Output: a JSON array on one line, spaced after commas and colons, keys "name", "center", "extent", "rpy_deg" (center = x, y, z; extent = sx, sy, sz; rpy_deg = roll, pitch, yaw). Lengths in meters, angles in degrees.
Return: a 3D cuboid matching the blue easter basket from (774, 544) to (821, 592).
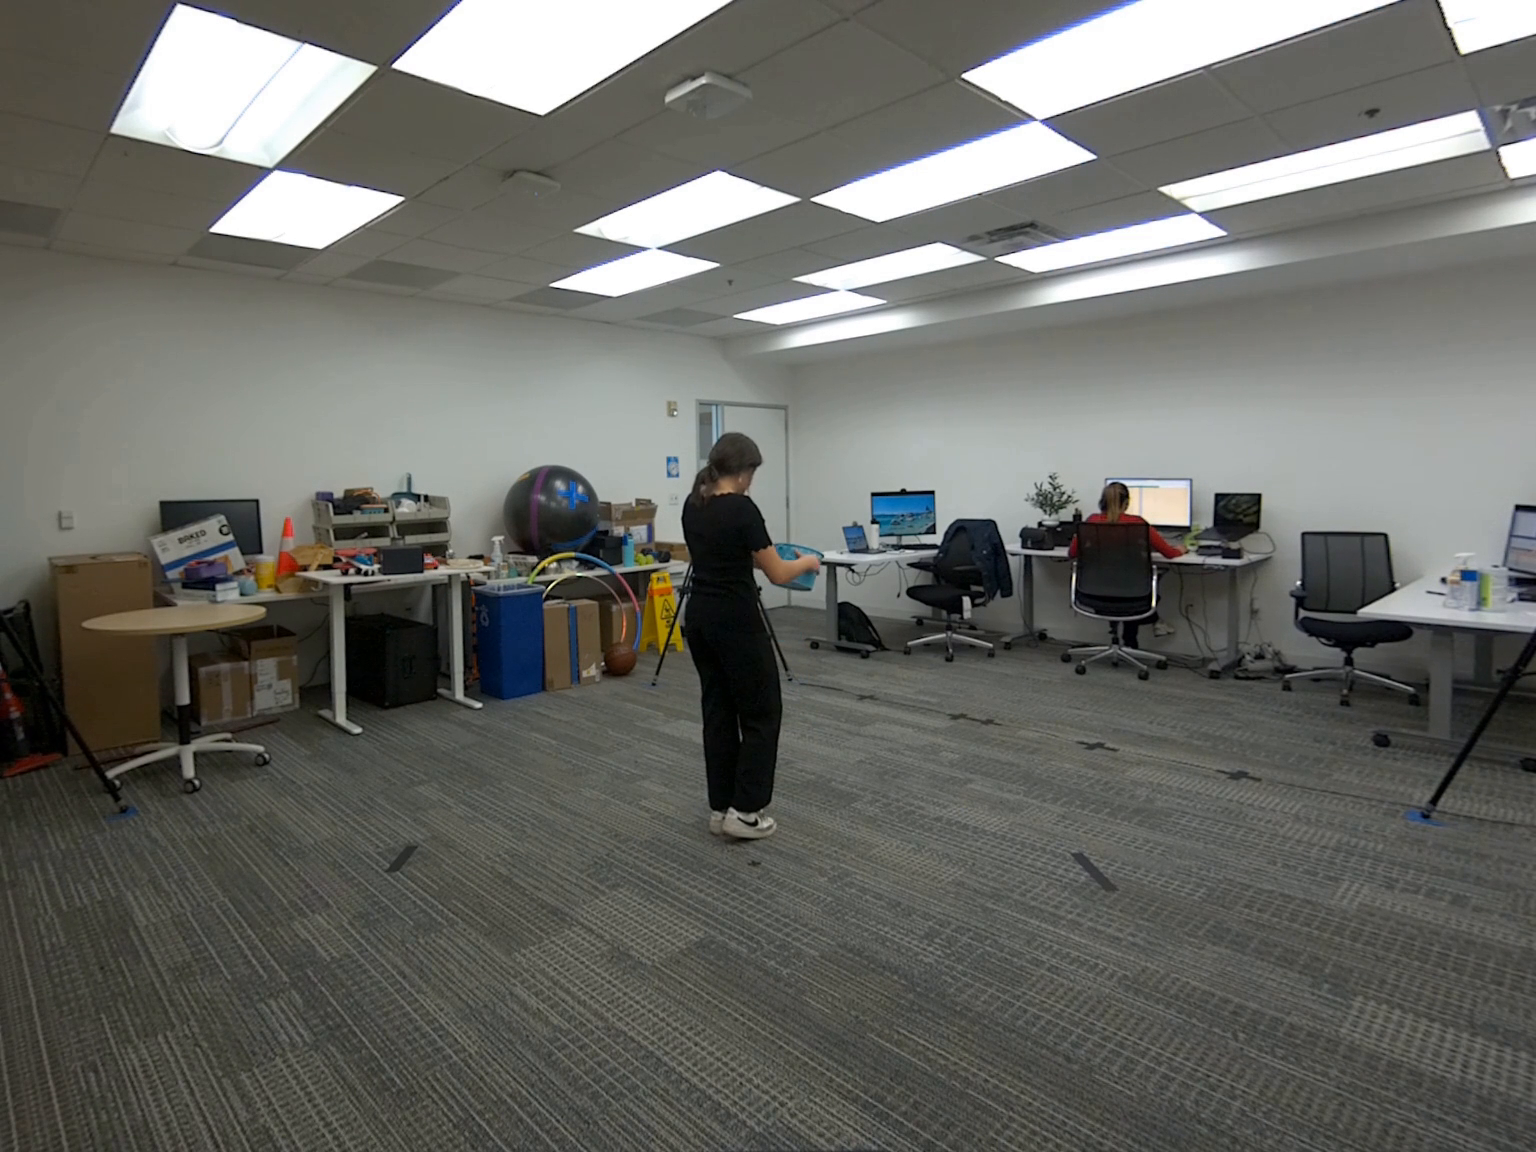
[{"name": "blue easter basket", "center": [0.101, -0.031, 3.606], "extent": [0.244, 0.157, 0.241], "rpy_deg": [10, -9, 0]}]
